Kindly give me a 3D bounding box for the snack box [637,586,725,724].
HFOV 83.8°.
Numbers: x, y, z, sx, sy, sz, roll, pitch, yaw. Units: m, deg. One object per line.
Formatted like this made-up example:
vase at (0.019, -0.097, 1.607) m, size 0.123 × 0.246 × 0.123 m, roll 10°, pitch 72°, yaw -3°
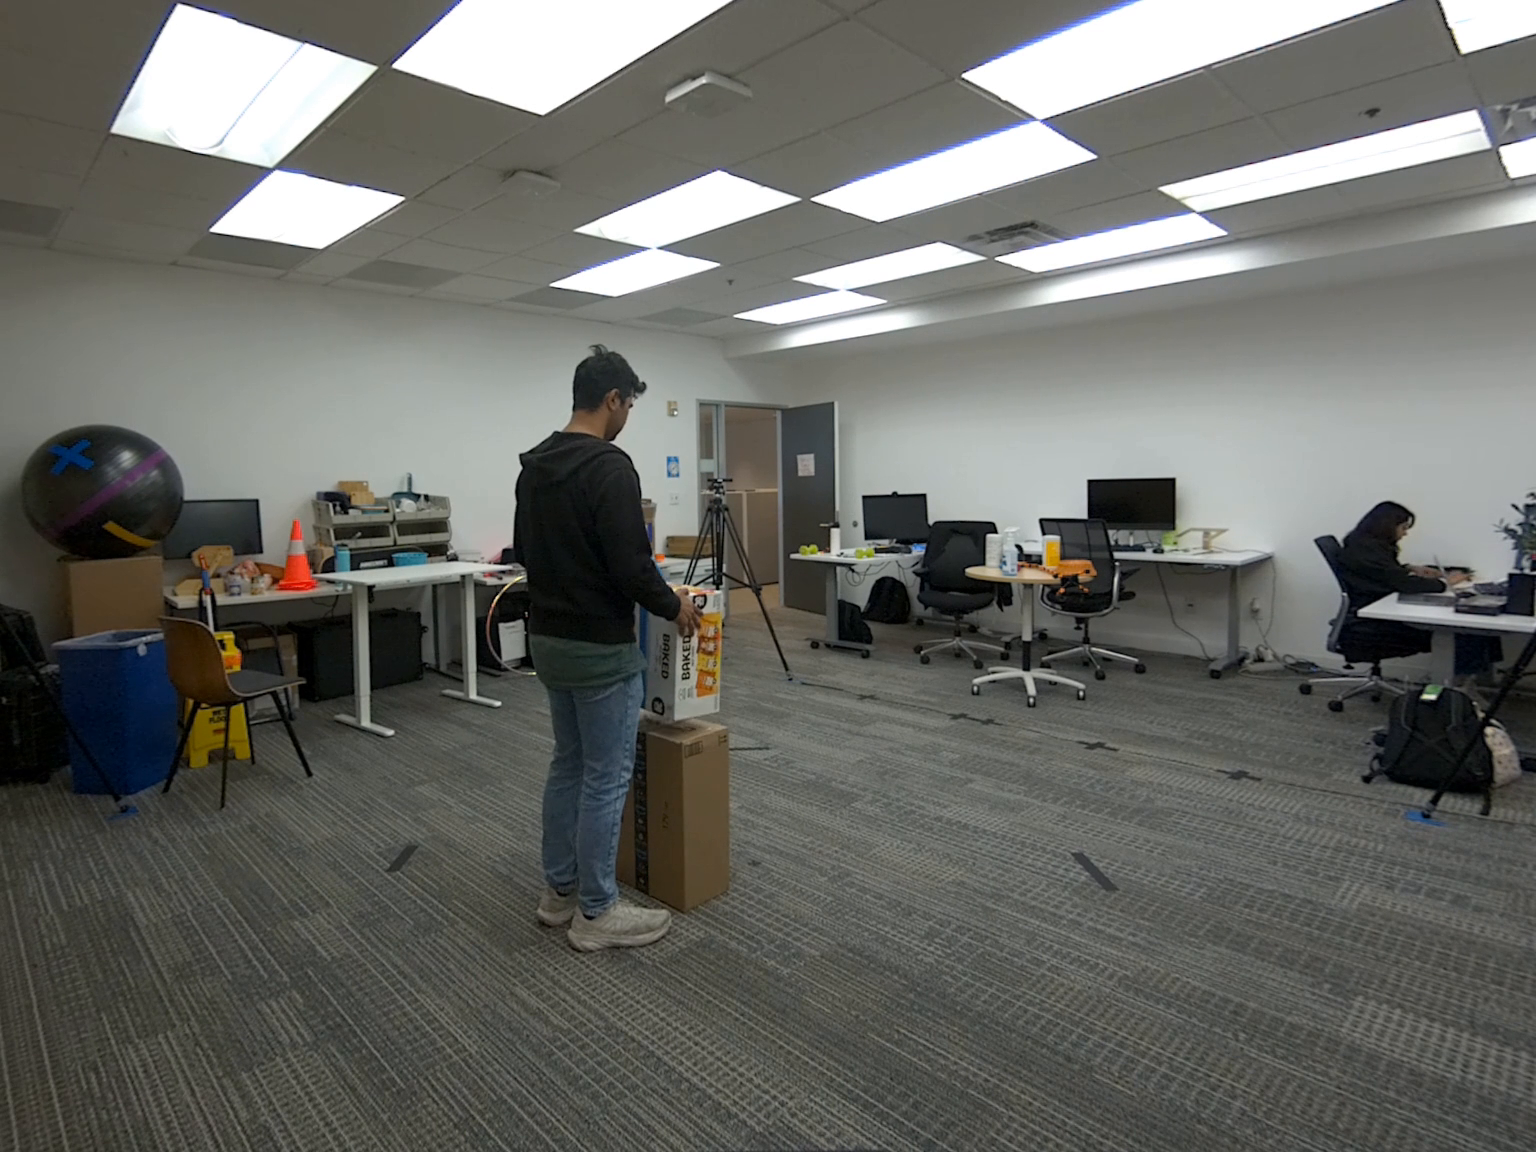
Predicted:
snack box at (-0.341, 0.232, 2.921) m, size 0.200 × 0.404 × 0.351 m, roll -3°, pitch 6°, yaw -44°
